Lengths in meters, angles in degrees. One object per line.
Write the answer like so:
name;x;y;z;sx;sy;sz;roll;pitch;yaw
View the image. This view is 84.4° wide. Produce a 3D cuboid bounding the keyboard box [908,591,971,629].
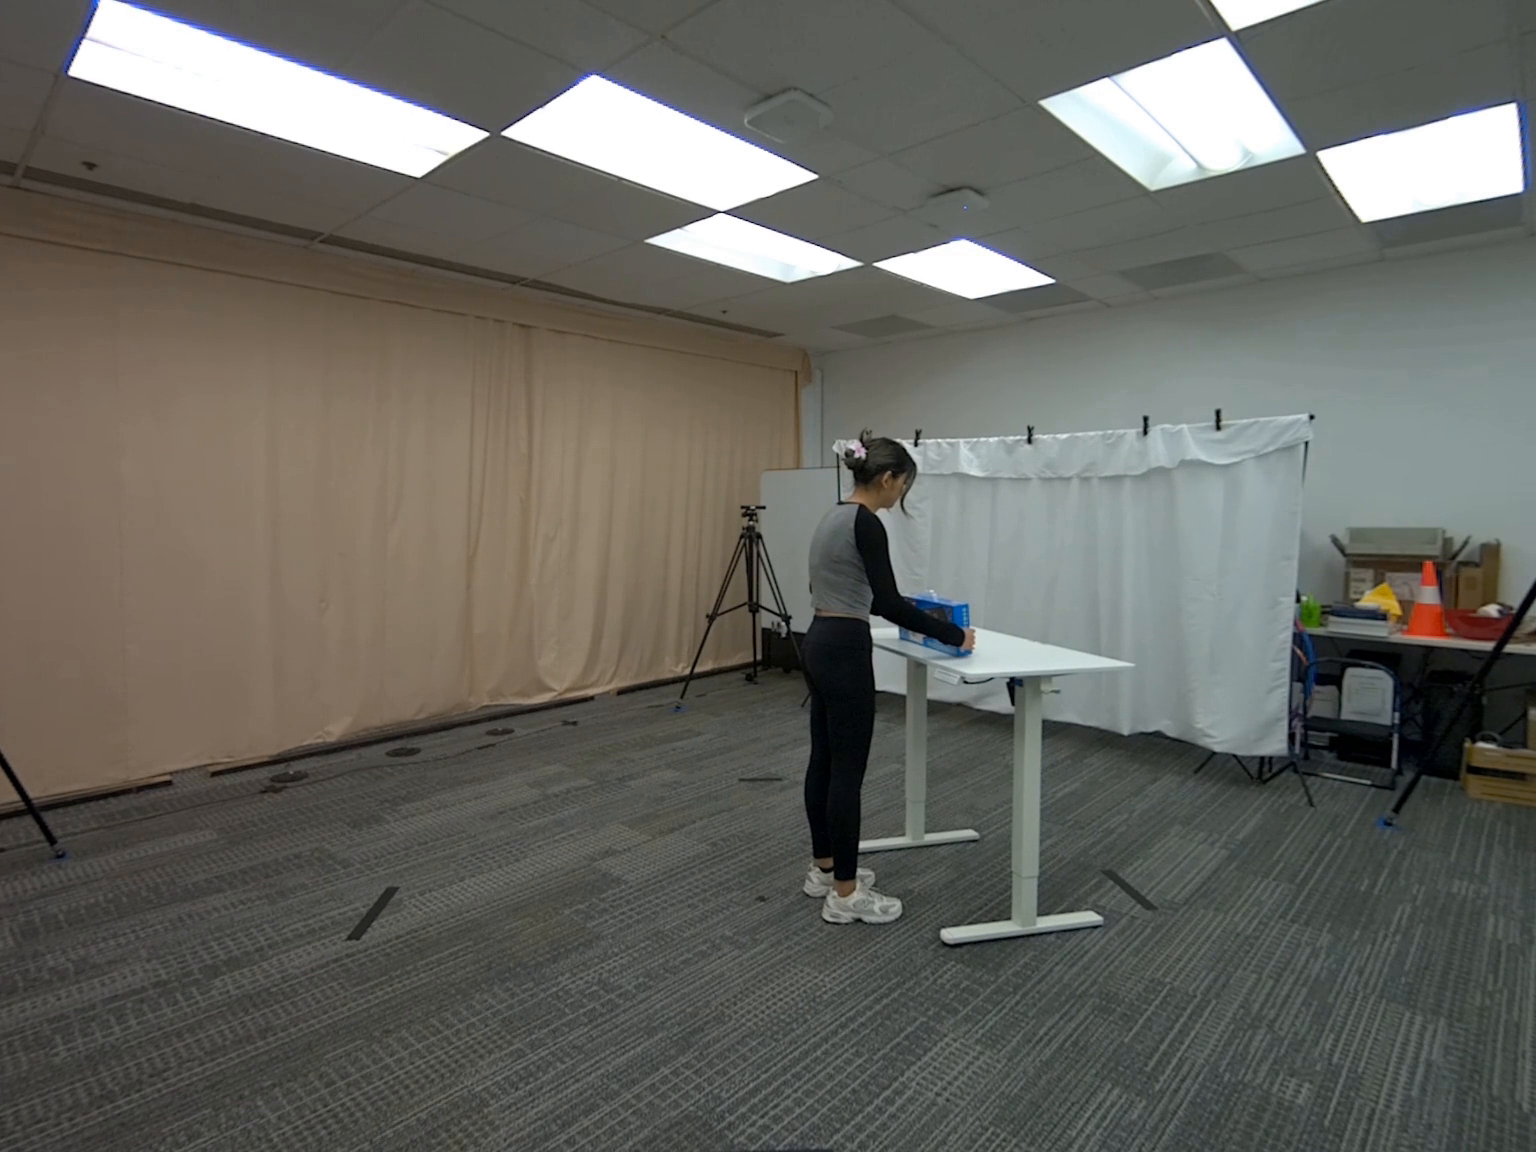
keyboard box;0.595;0.167;3.007;0.058;0.175;0.444;-6;4;-17
